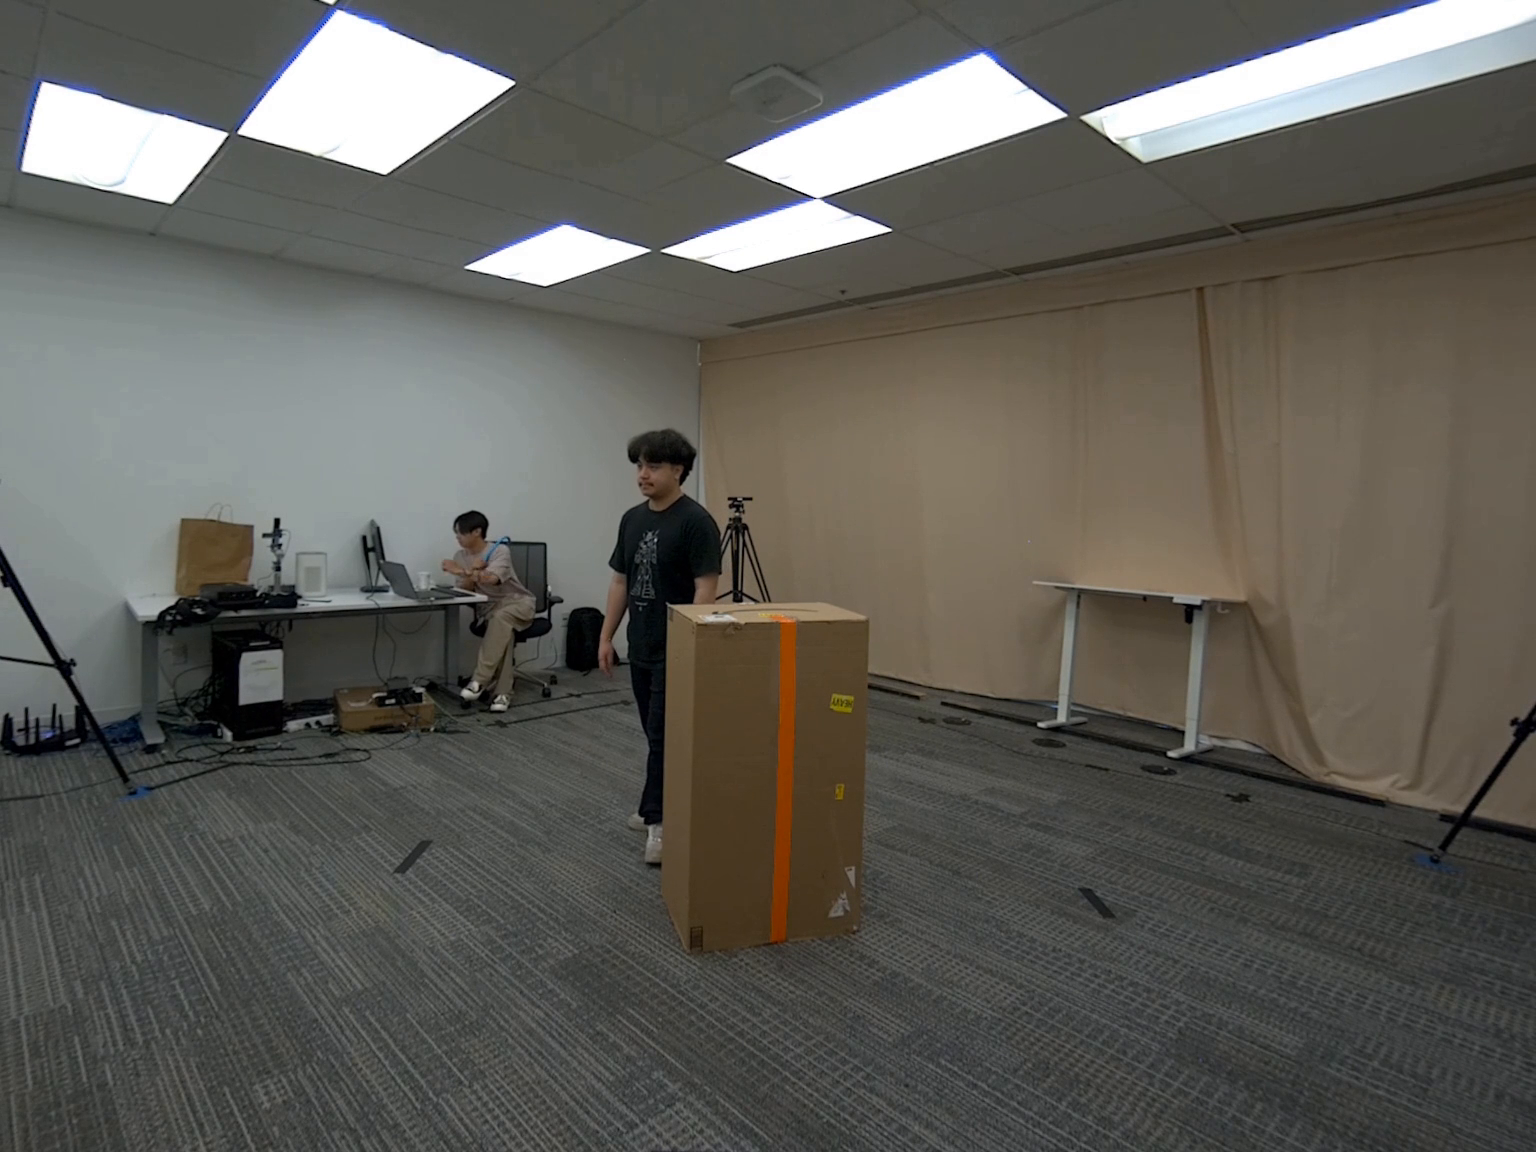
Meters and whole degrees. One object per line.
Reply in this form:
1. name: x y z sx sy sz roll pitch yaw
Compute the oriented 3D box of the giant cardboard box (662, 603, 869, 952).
1. giant cardboard box: -0.027 0.624 2.813 0.576 1.024 0.454 1 4 -17
